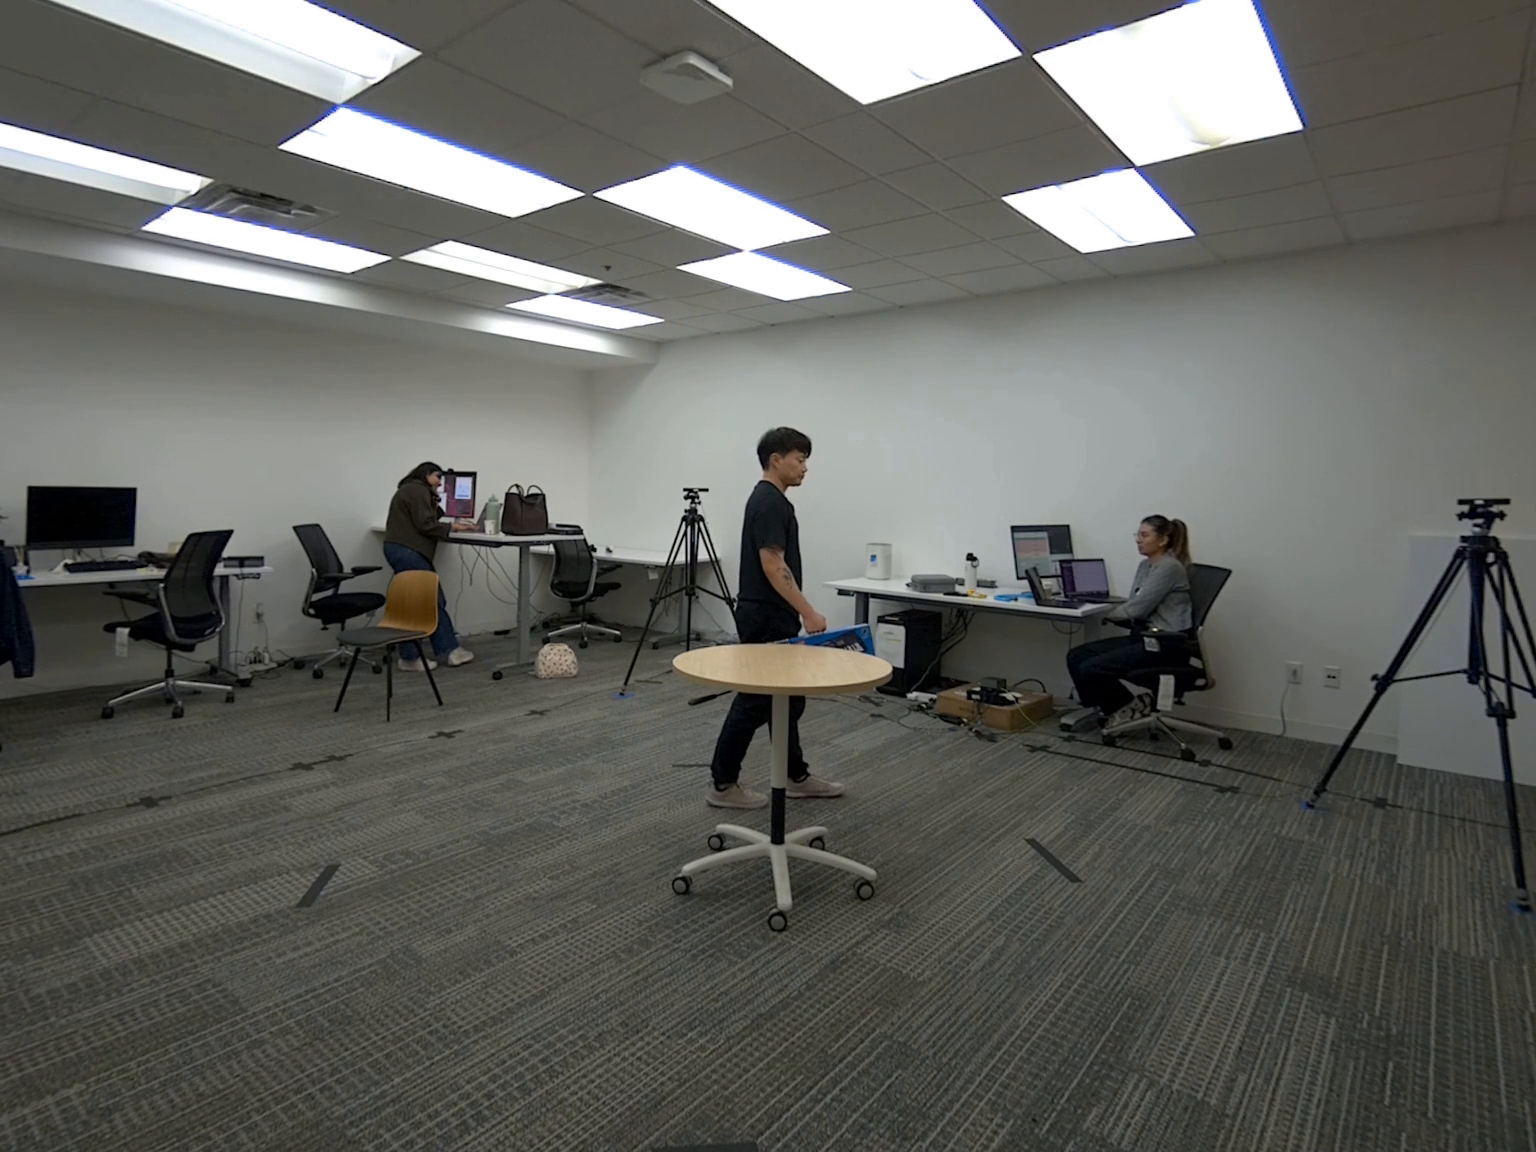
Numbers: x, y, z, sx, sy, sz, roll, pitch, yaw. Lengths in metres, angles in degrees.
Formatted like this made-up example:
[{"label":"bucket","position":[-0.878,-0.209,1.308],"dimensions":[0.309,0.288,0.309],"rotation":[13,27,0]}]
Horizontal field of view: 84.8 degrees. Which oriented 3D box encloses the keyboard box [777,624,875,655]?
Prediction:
[{"label":"keyboard box","position":[0.208,0.323,3.487],"dimensions":[0.435,0.176,0.059],"rotation":[-11,-1,-5]}]
